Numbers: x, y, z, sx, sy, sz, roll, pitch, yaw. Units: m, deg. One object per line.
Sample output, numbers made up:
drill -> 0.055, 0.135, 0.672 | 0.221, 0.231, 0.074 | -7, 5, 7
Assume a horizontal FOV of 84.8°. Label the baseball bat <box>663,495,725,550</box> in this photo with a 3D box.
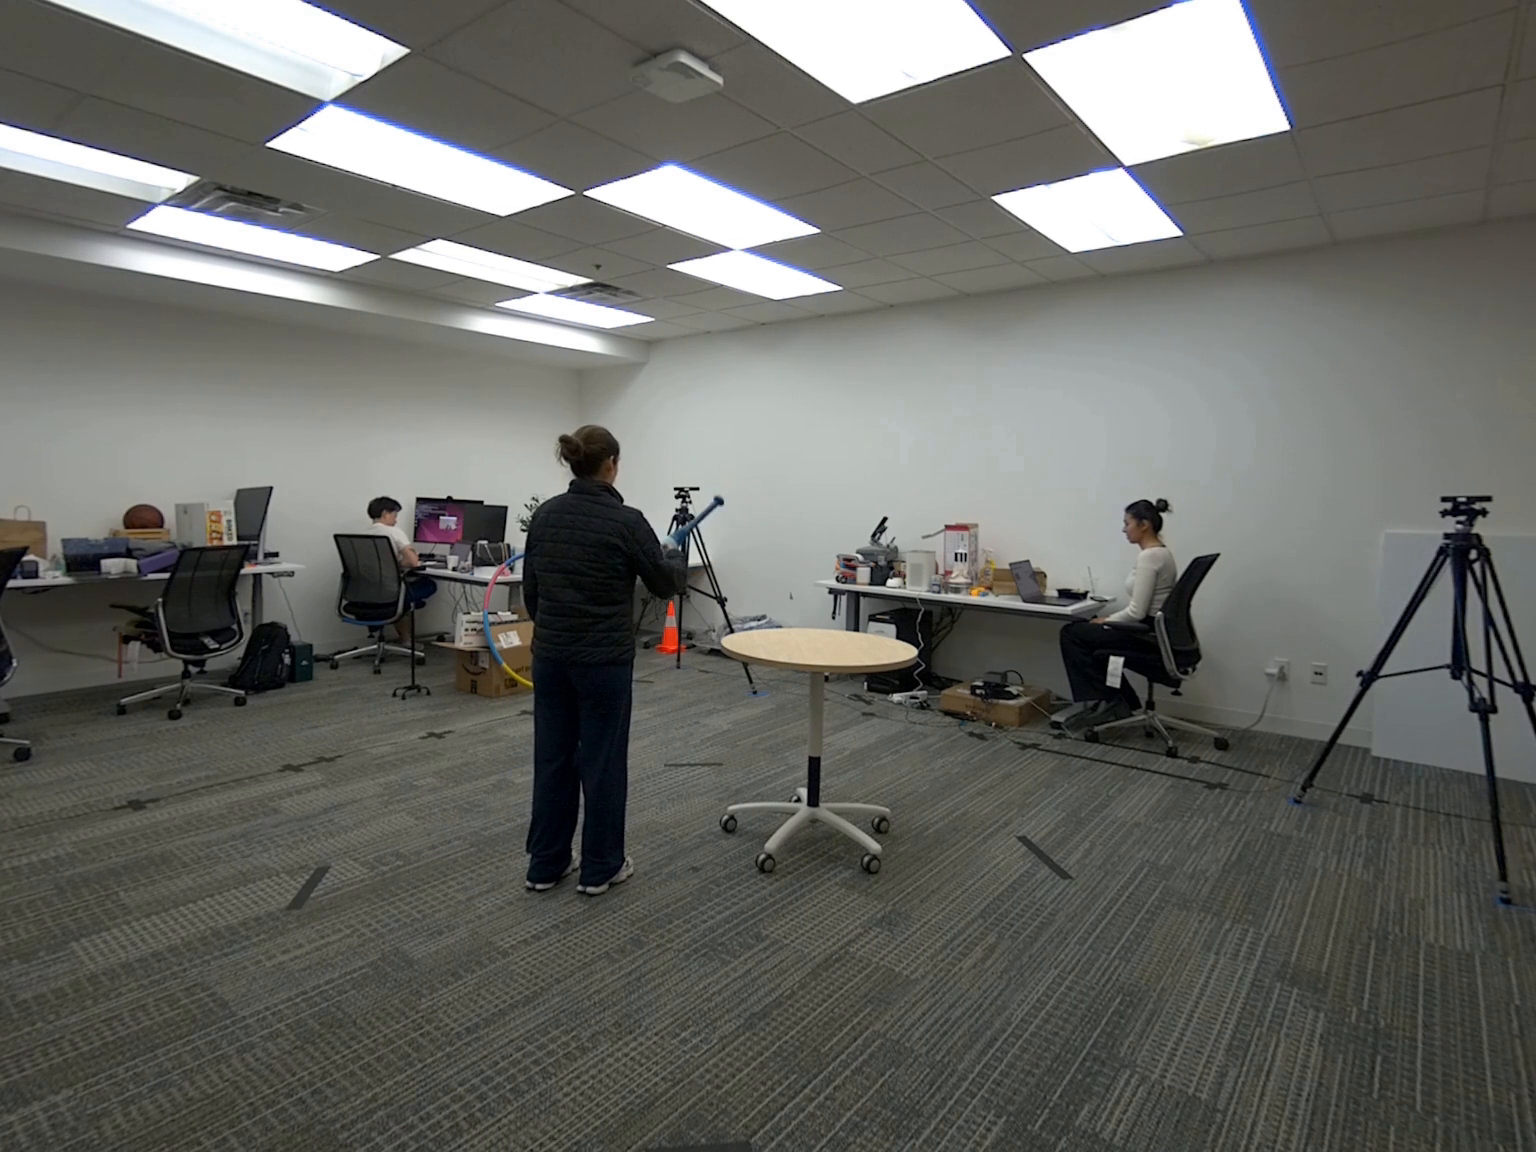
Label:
baseball bat -> -0.345, -0.156, 3.378 | 0.541, 0.086, 0.092 | -43, 26, -25
